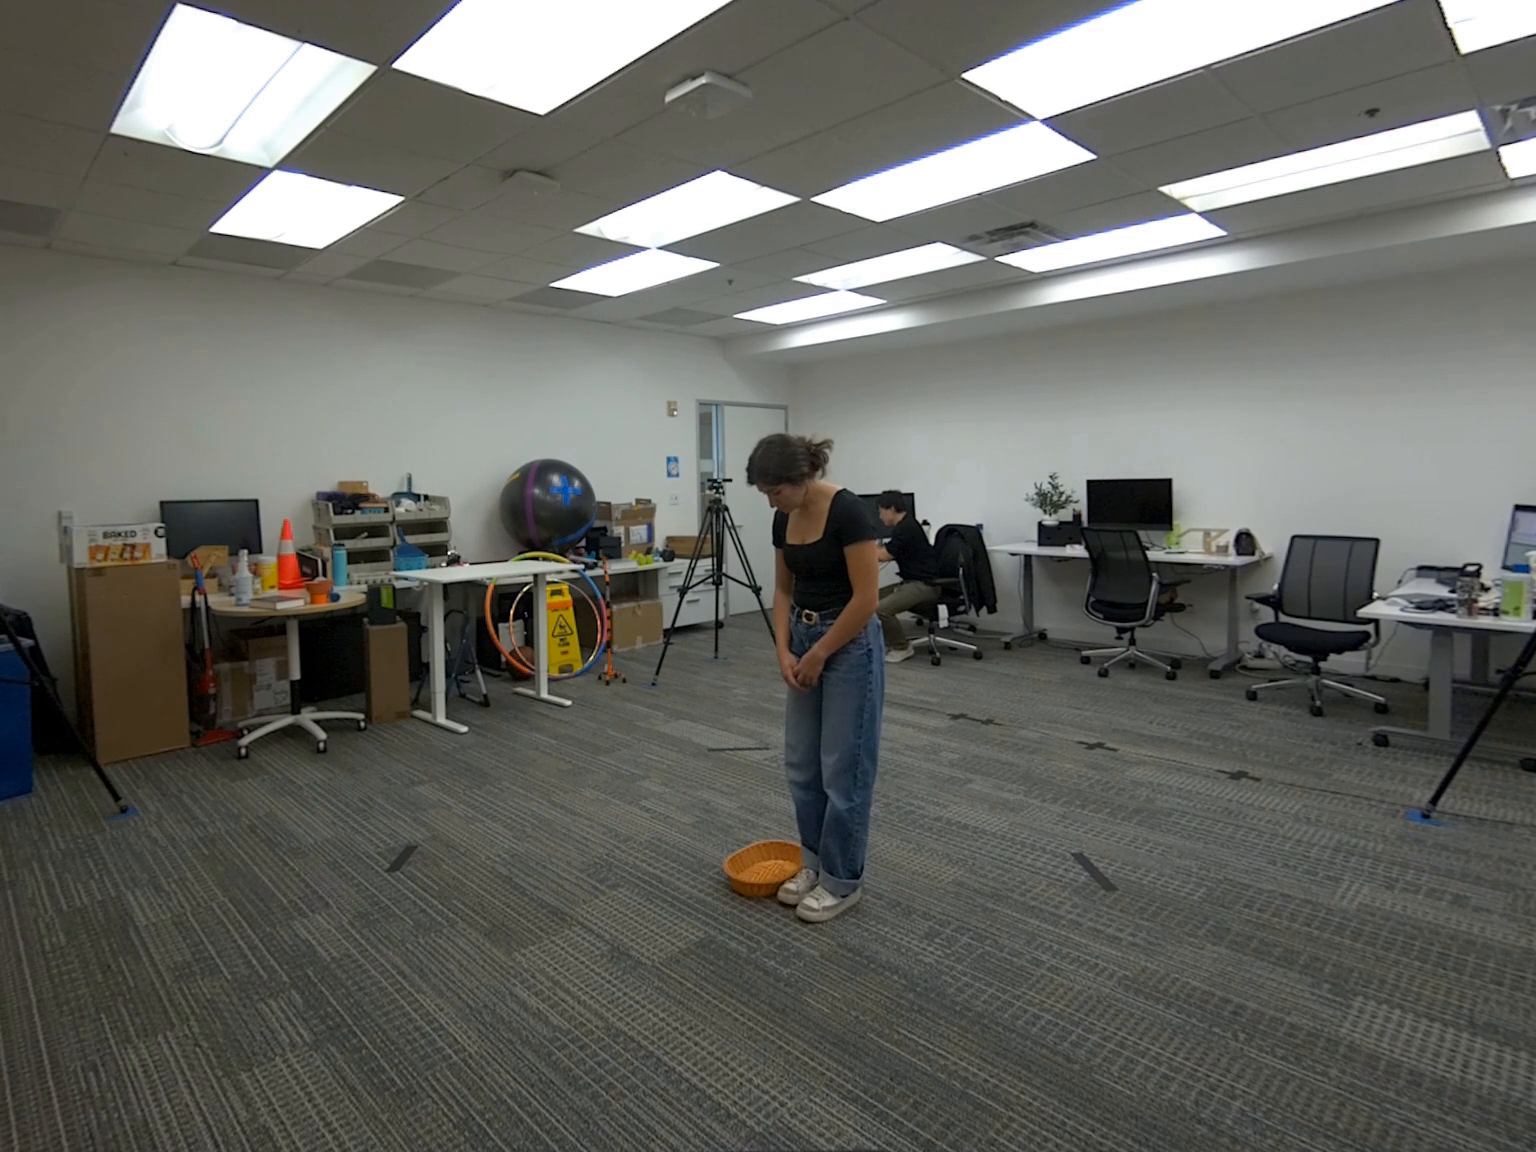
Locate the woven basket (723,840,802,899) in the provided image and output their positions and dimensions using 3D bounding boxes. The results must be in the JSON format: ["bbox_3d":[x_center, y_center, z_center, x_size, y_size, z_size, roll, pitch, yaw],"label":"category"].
[{"bbox_3d":[-0.001,1.015,2.977,0.260,0.073,0.341,7,9,42],"label":"woven basket"}]
